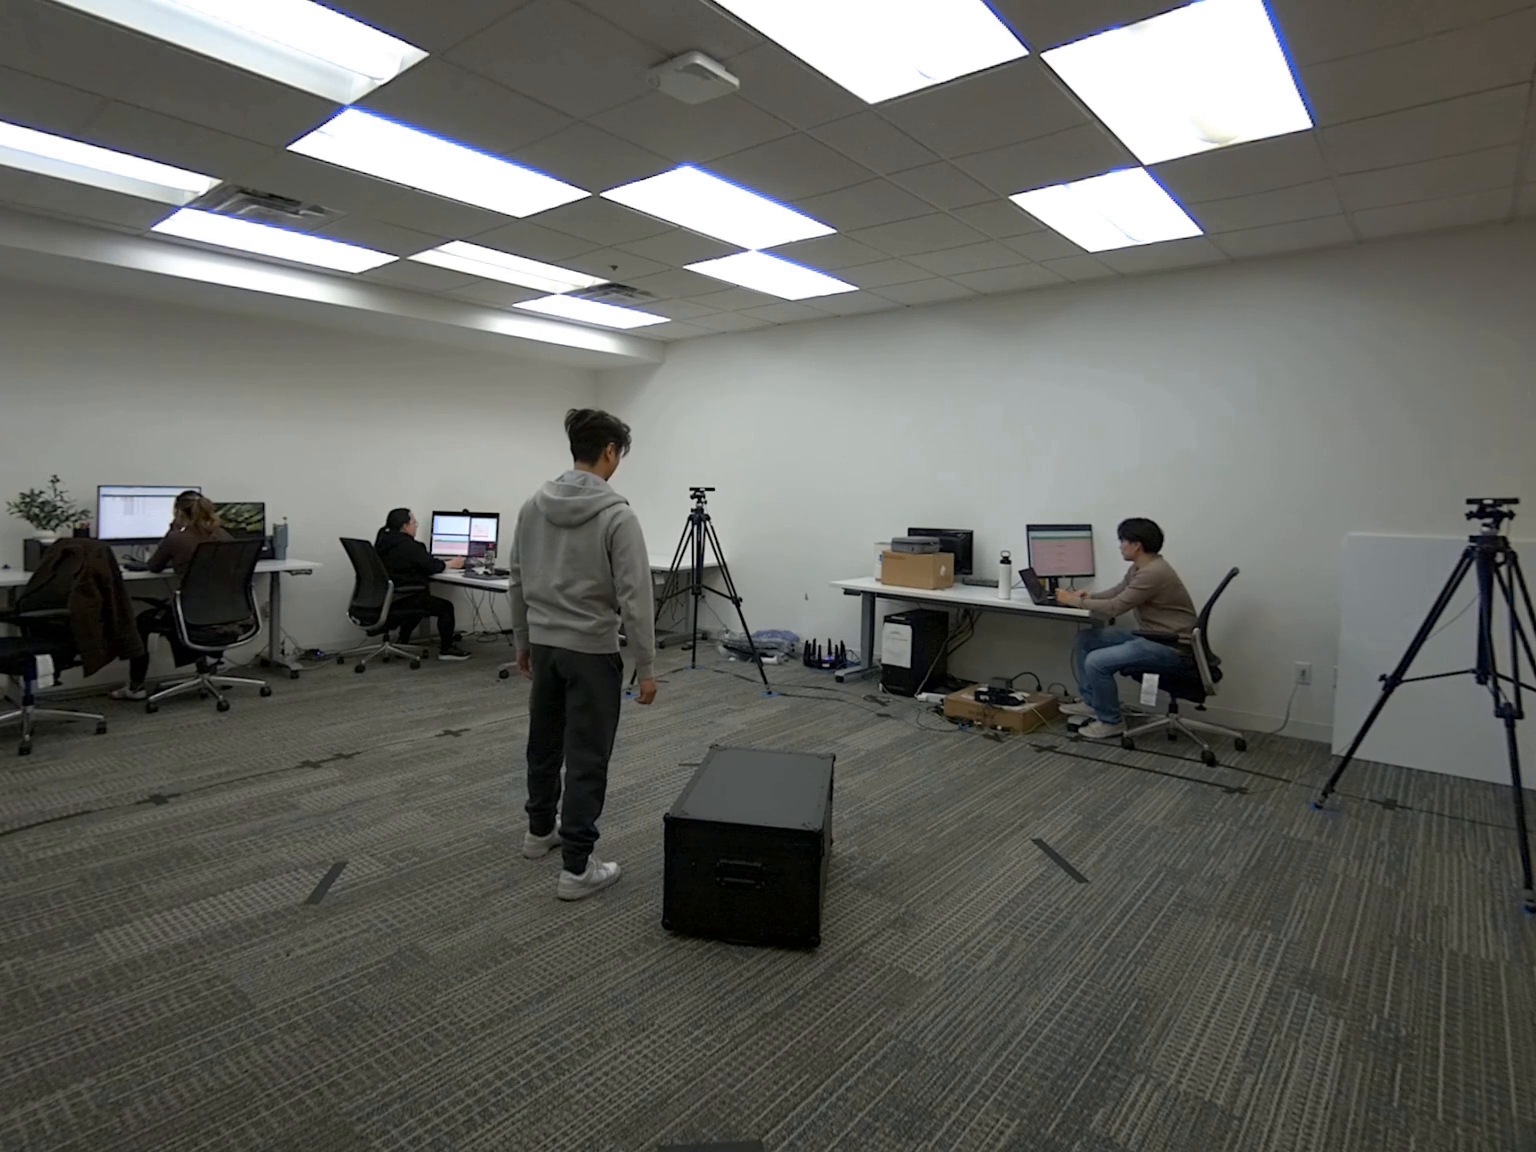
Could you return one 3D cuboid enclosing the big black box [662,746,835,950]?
[{"bbox_3d":[-0.038,0.887,2.980,0.527,0.394,0.856,2,6,8],"label":"big black box"}]
